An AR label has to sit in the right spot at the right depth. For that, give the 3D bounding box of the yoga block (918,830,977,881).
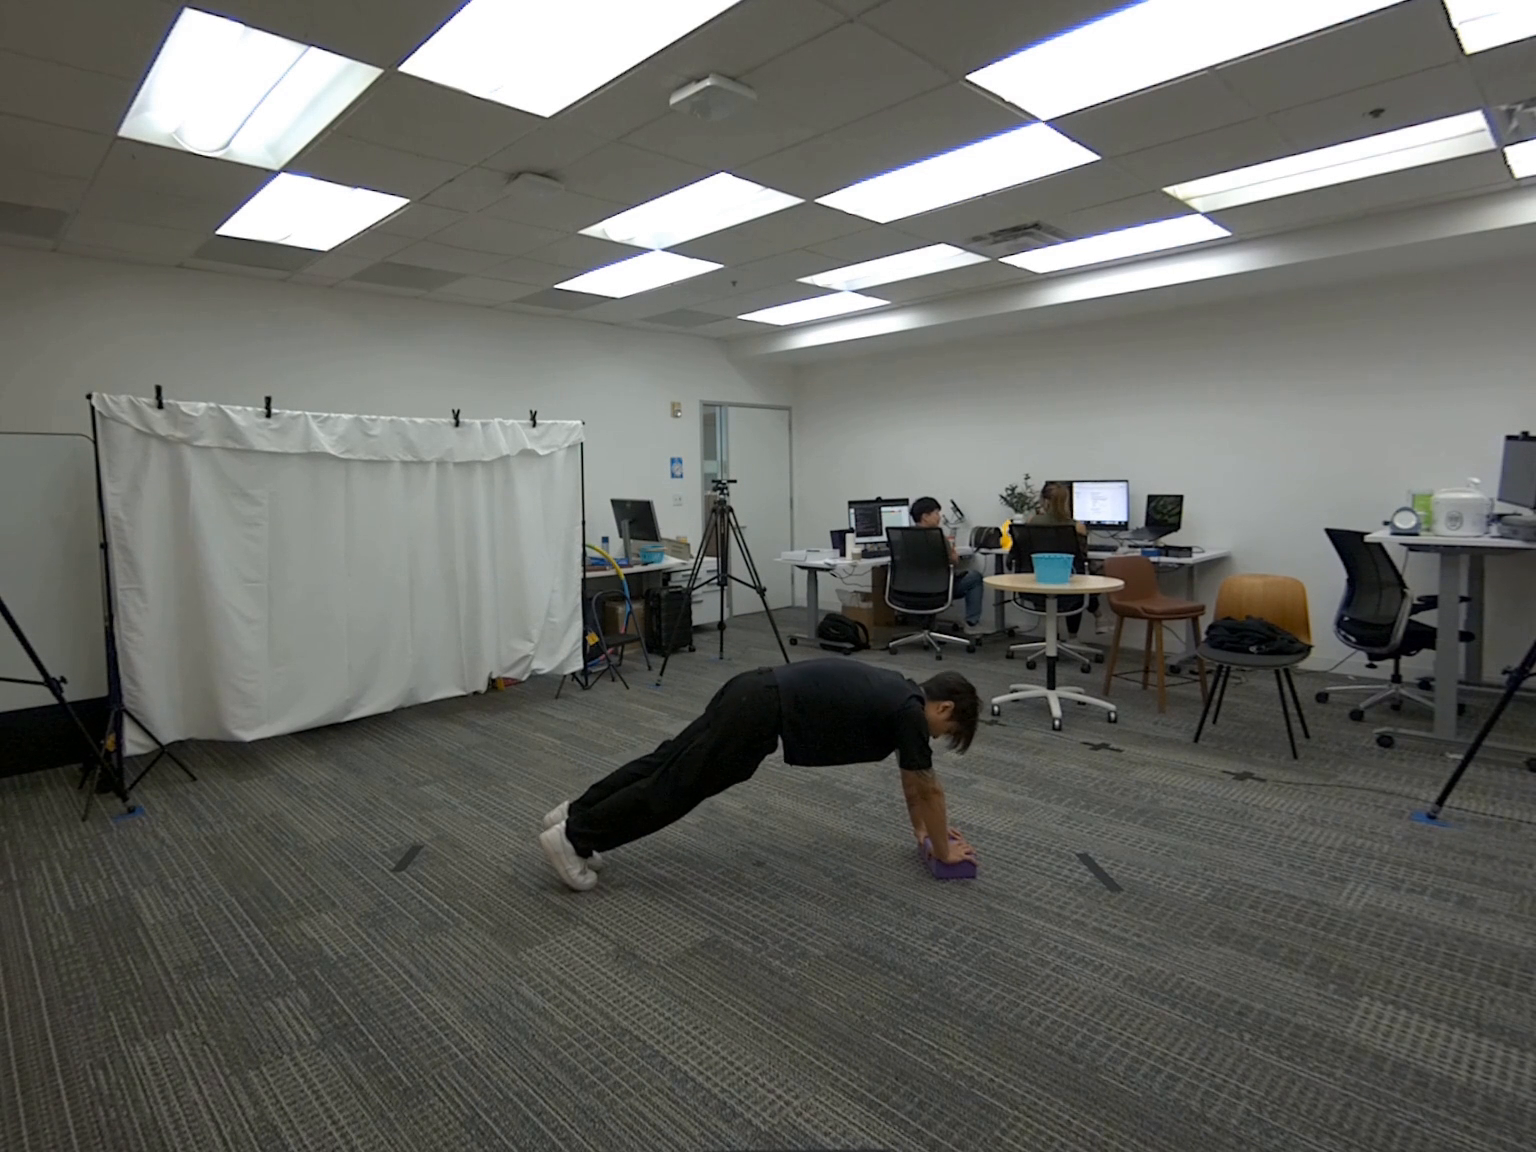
[{"bbox_3d":[0.635,0.996,3.068,0.148,0.076,0.231,1,5,-6],"label":"yoga block"}]
